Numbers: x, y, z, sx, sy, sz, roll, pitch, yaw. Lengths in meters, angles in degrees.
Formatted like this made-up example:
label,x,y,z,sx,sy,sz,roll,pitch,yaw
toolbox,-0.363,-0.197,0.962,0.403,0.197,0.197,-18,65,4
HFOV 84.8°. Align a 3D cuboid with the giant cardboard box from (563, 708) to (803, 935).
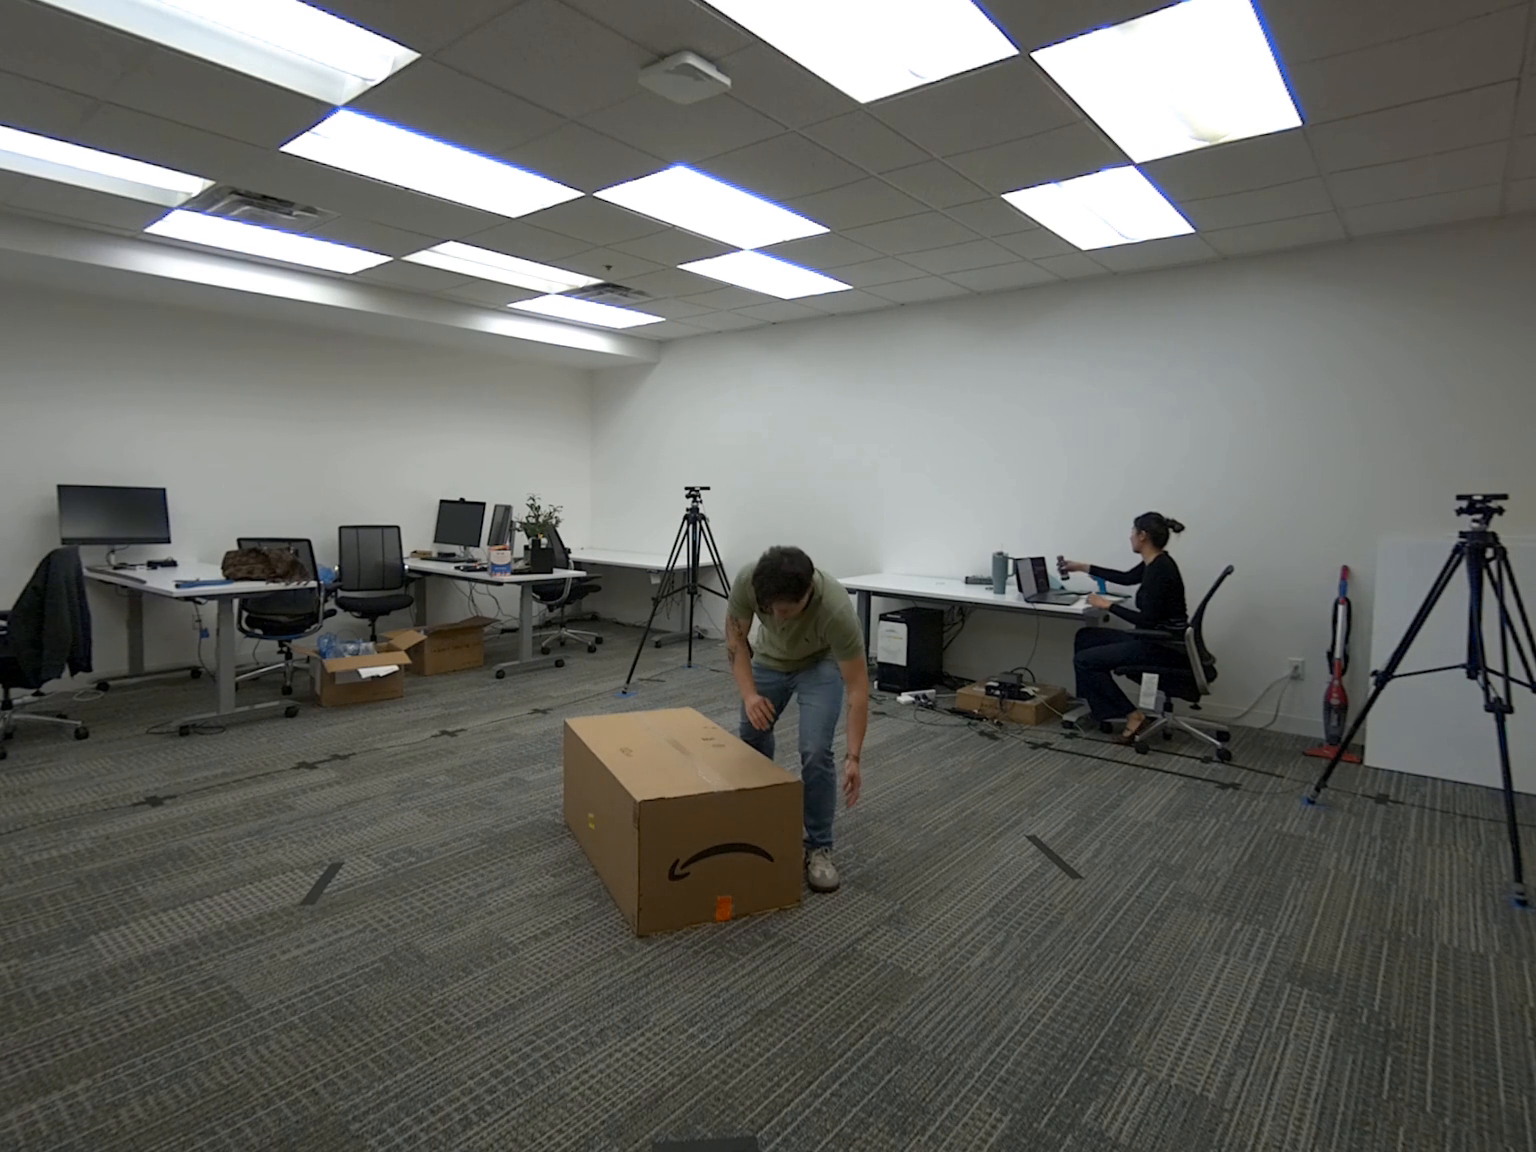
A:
label,x,y,z,sx,sy,sz,roll,pitch,yaw
giant cardboard box,-0.380,0.841,3.178,0.564,0.425,1.054,0,5,-25
